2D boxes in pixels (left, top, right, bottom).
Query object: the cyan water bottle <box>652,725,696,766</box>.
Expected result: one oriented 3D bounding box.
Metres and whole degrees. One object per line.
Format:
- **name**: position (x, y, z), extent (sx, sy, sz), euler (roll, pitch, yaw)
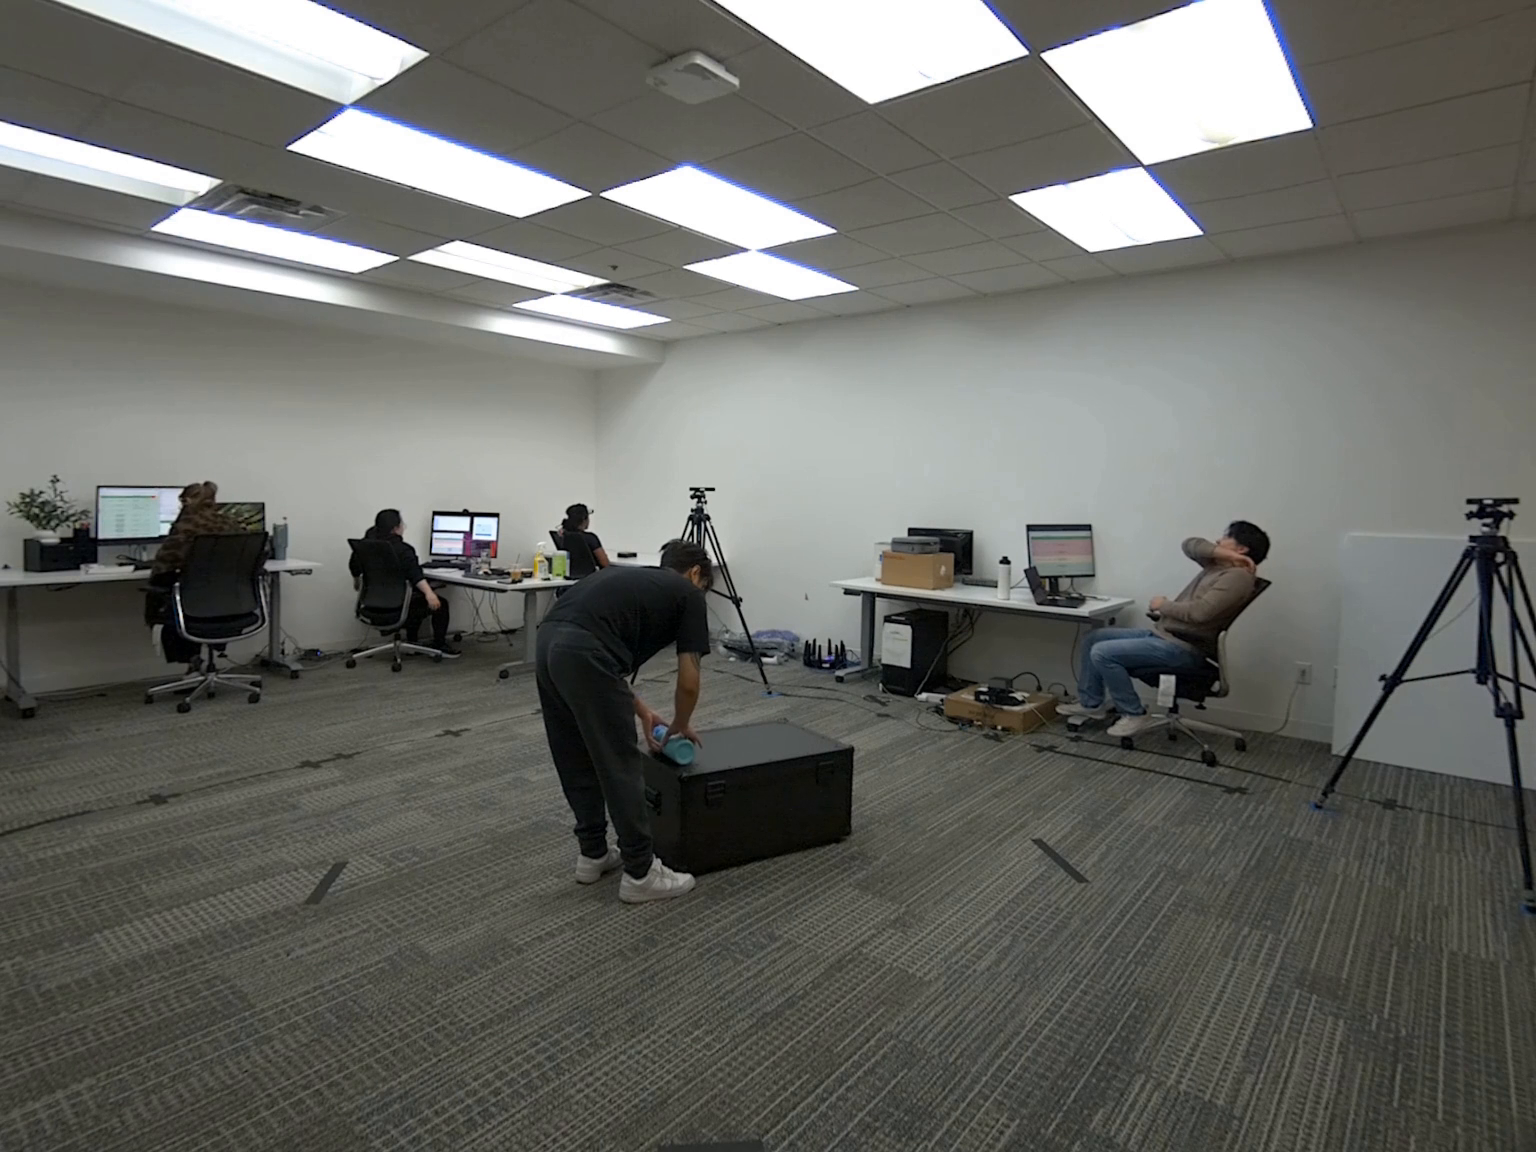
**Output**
- **cyan water bottle**: position (-0.384, 0.629, 3.233), extent (0.090, 0.092, 0.292), euler (-1, 7, -30)
